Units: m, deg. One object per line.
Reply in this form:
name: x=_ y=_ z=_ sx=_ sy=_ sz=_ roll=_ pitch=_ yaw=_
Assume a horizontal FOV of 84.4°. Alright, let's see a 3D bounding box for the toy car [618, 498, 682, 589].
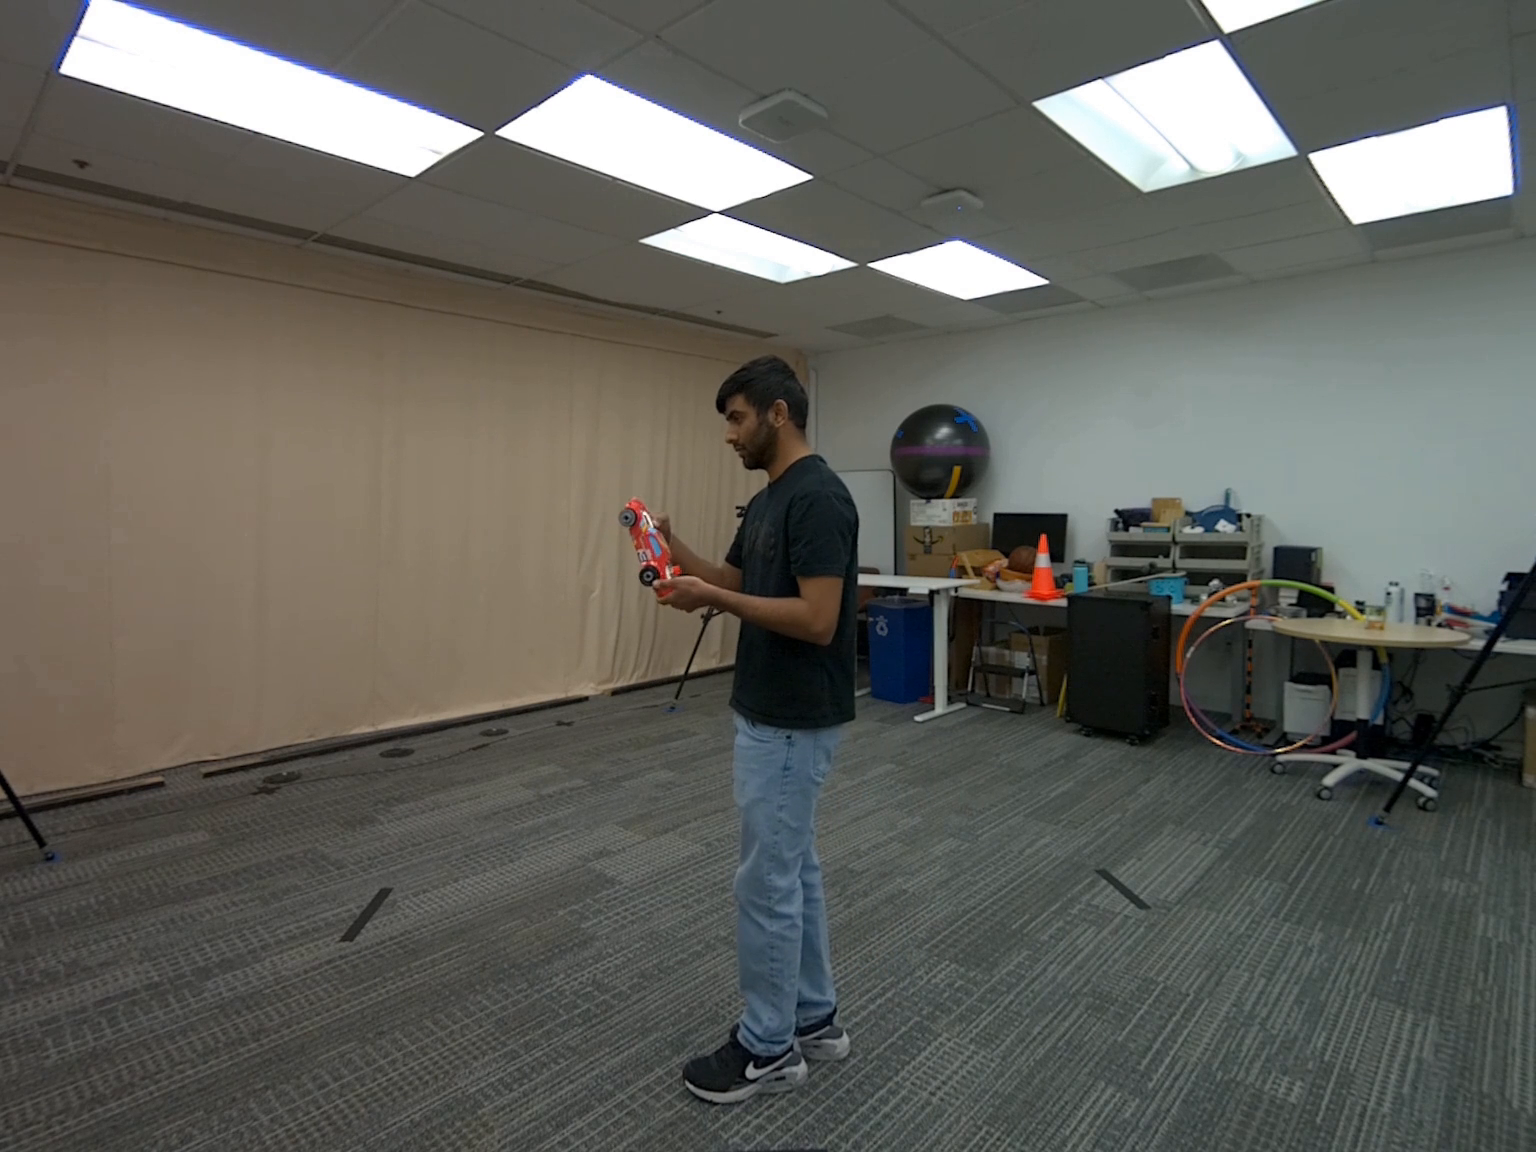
toy car: x=-0.278 y=-0.055 z=2.014 sx=0.084 sy=0.255 sz=0.129 roll=-26 pitch=0 yaw=13
